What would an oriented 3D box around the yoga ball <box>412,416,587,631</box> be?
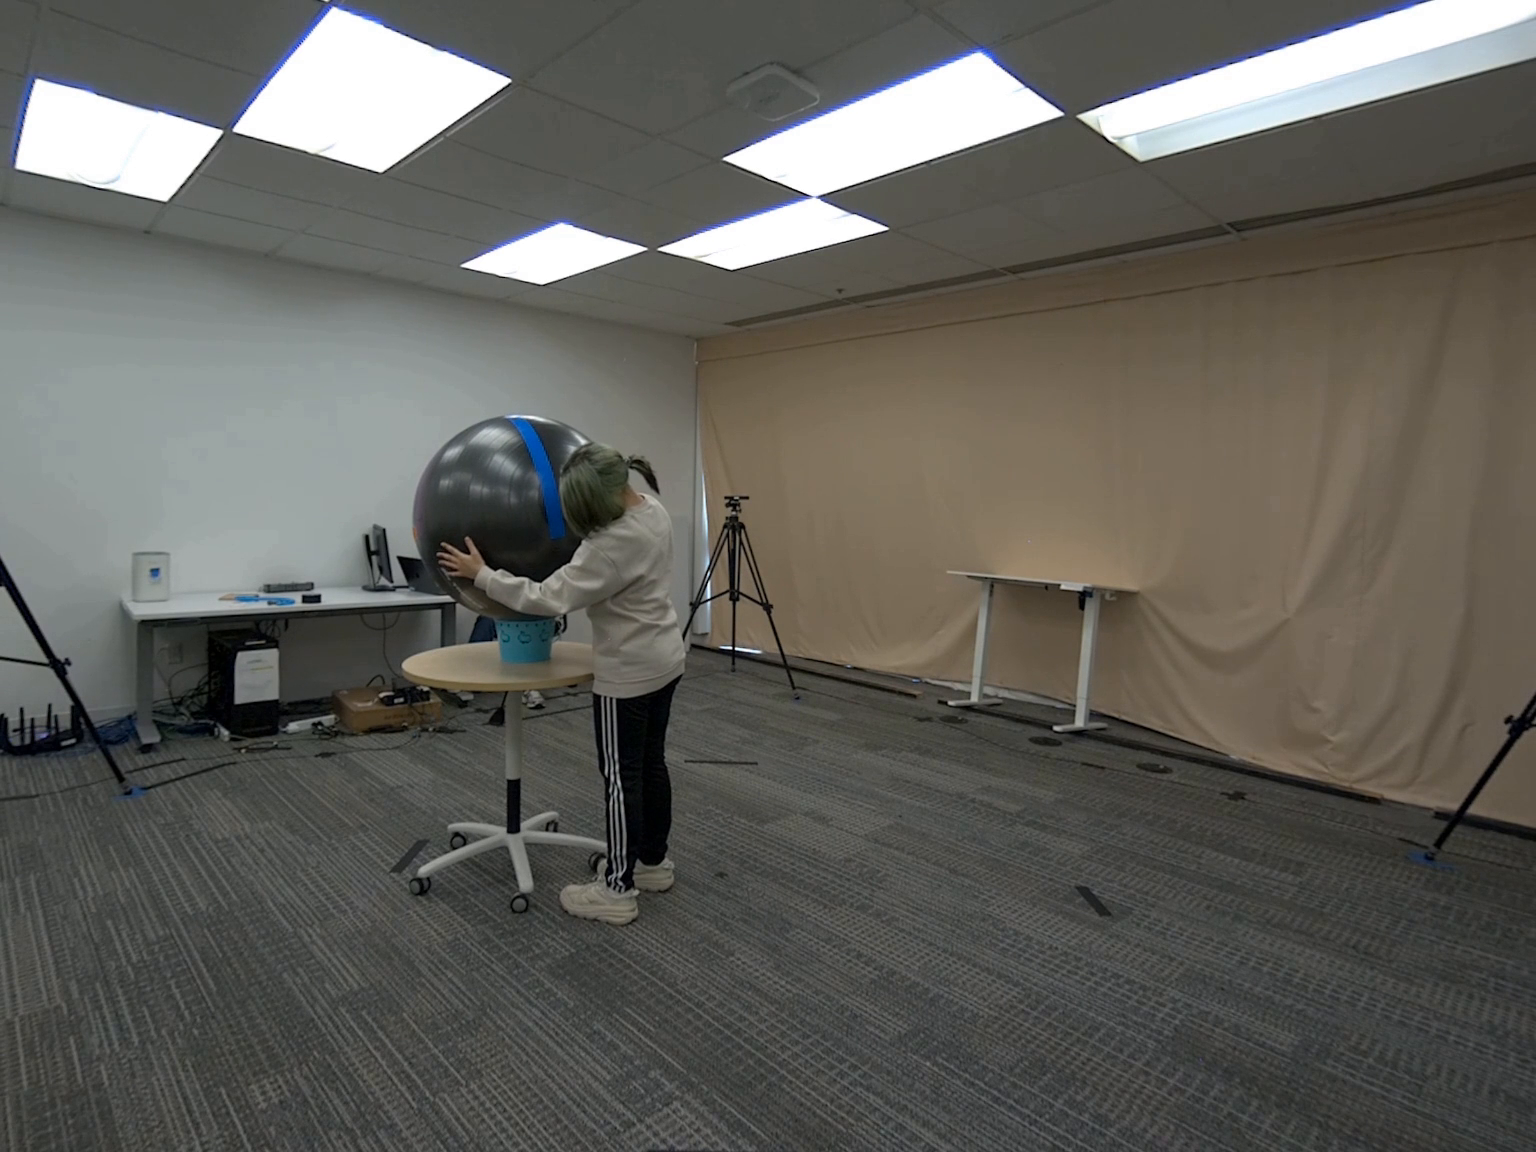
[{"bbox_3d":[-0.900,-0.206,3.083,0.757,0.756,0.761,1,4,-1],"label":"yoga ball"}]
